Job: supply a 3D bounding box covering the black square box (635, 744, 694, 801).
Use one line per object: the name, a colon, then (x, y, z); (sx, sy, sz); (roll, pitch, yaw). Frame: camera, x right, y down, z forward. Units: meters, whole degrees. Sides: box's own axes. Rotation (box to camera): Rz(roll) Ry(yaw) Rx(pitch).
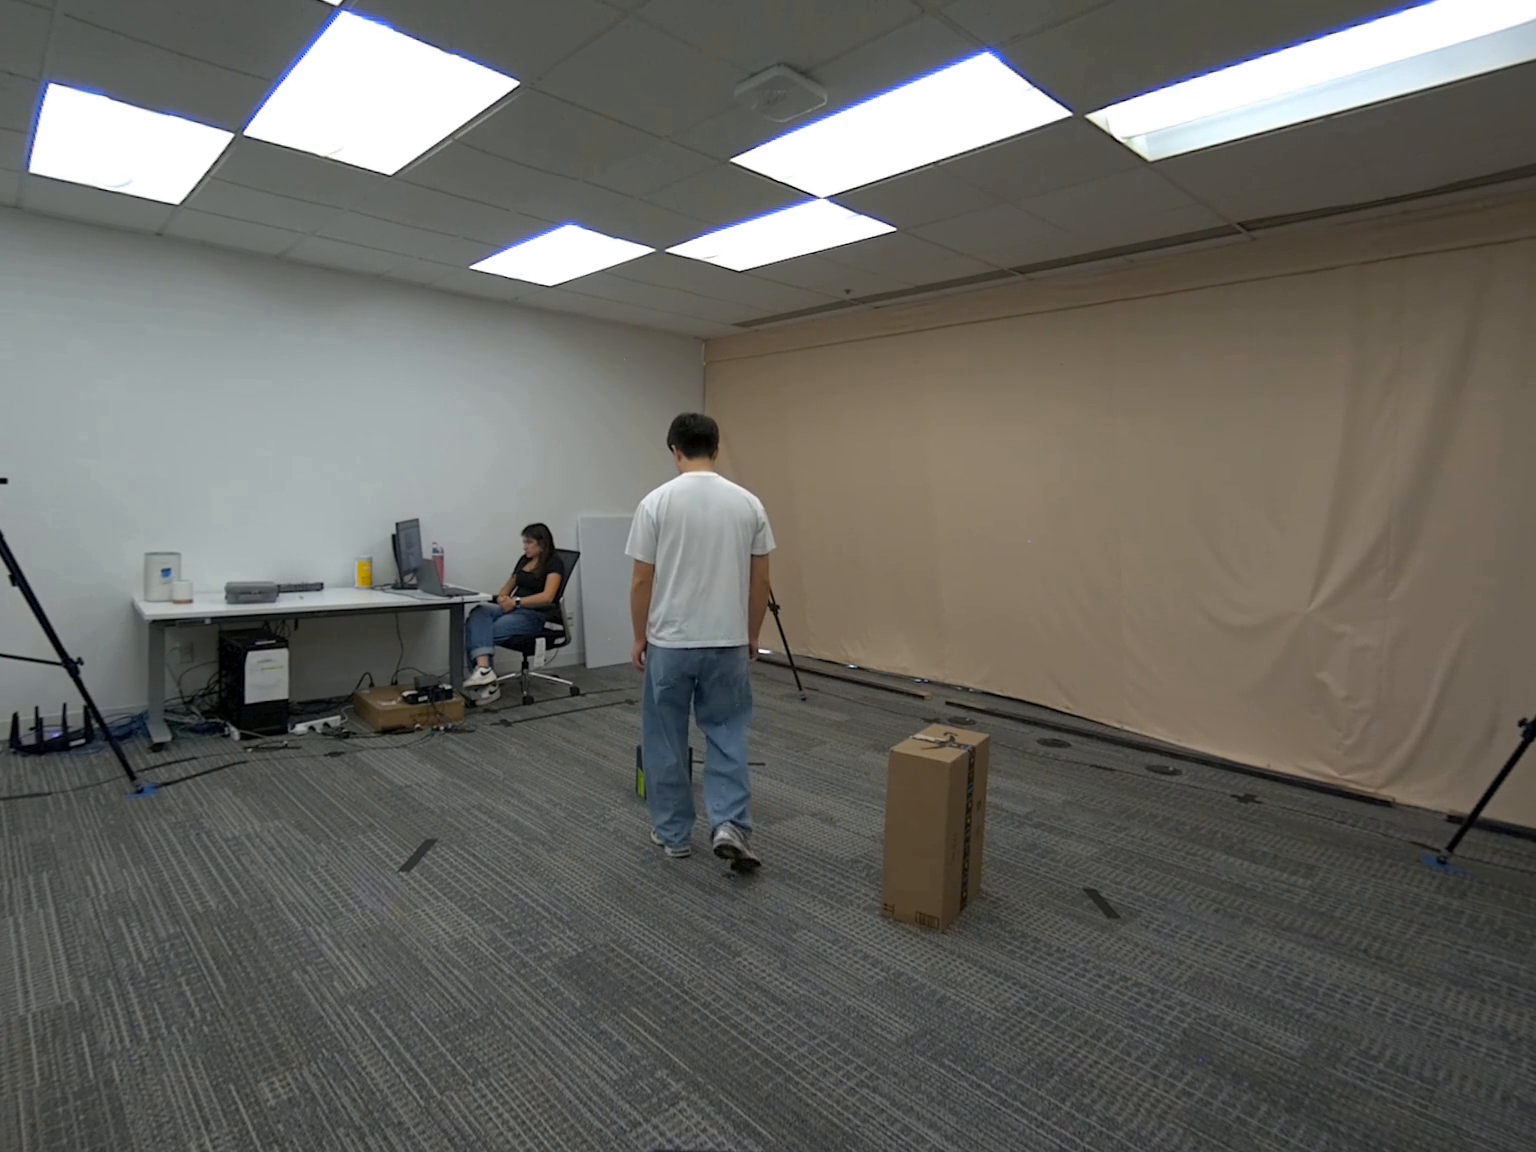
black square box: (-0.493, 0.909, 3.939); (0.212, 0.227, 0.160); (-1, 5, -37)
